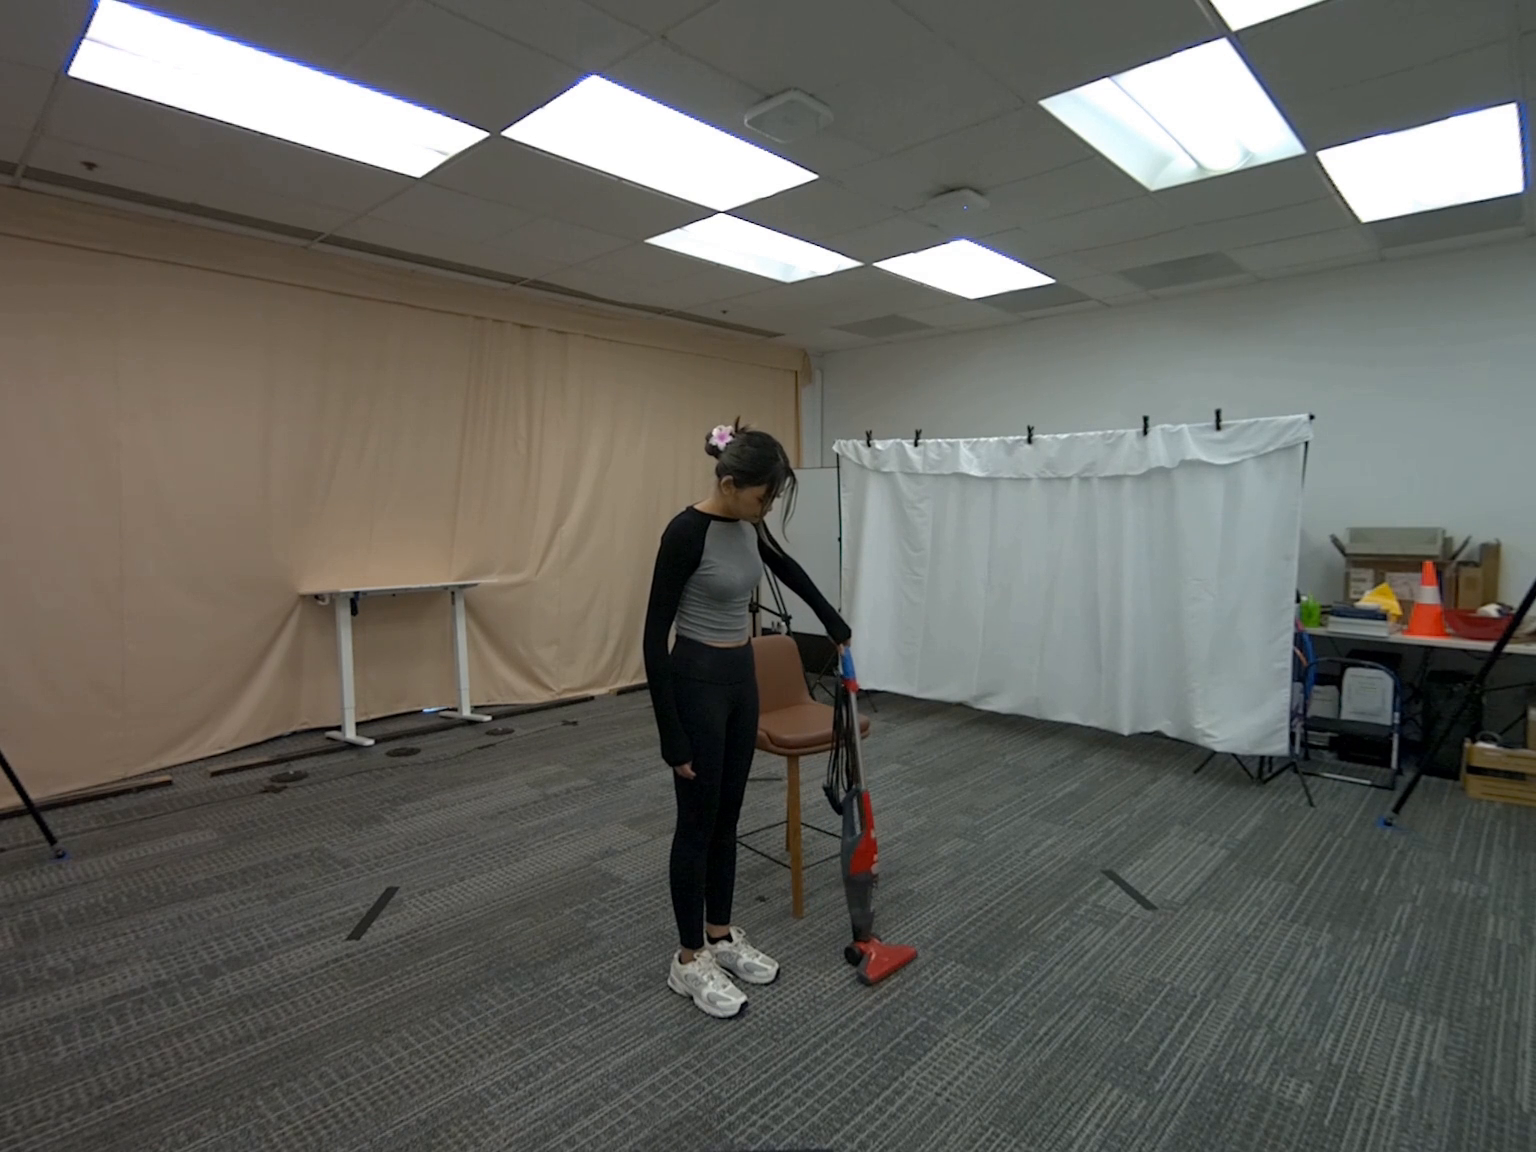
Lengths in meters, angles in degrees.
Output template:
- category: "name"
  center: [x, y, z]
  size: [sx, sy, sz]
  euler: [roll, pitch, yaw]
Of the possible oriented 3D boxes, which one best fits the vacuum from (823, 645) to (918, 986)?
- category: "vacuum"
  center: [0.273, 0.663, 2.627]
  size: [0.148, 1.055, 0.244]
  euler: [-14, -10, 43]
